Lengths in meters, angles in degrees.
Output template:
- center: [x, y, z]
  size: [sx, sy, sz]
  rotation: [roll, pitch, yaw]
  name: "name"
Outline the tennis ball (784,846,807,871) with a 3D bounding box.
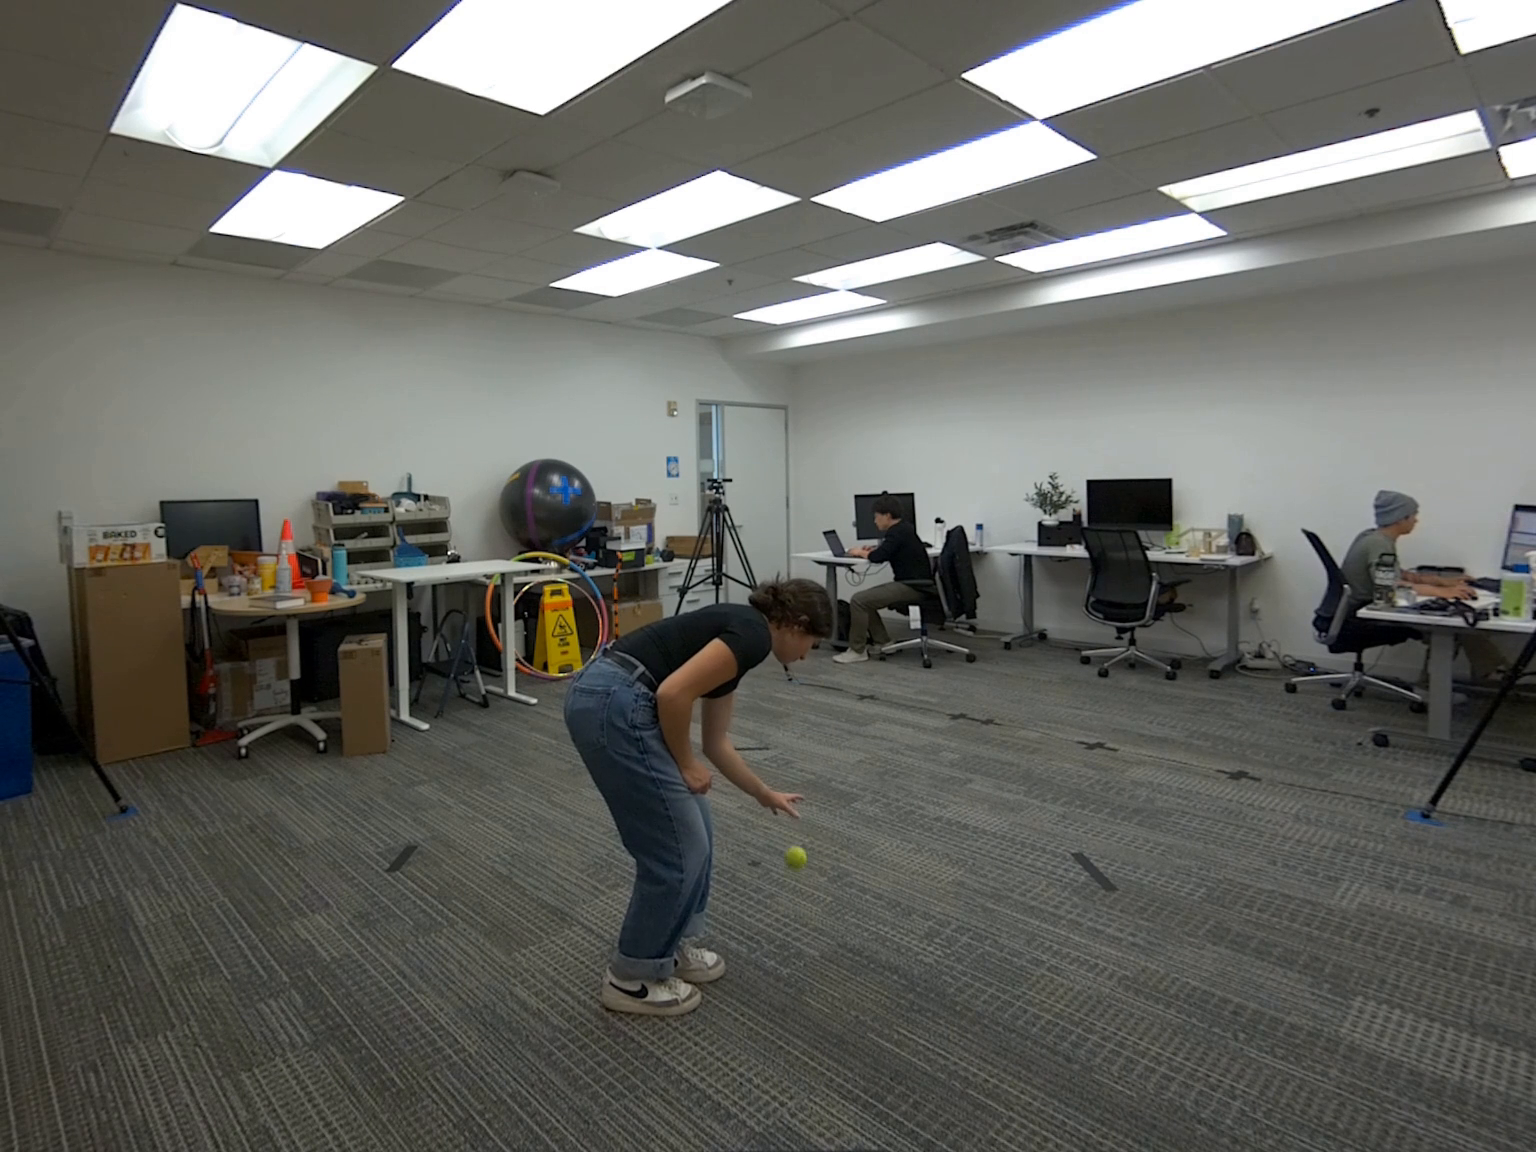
- center: [0.103, 0.866, 2.618]
  size: [0.066, 0.066, 0.067]
  rotation: [-1, 5, -2]
  name: "tennis ball"
